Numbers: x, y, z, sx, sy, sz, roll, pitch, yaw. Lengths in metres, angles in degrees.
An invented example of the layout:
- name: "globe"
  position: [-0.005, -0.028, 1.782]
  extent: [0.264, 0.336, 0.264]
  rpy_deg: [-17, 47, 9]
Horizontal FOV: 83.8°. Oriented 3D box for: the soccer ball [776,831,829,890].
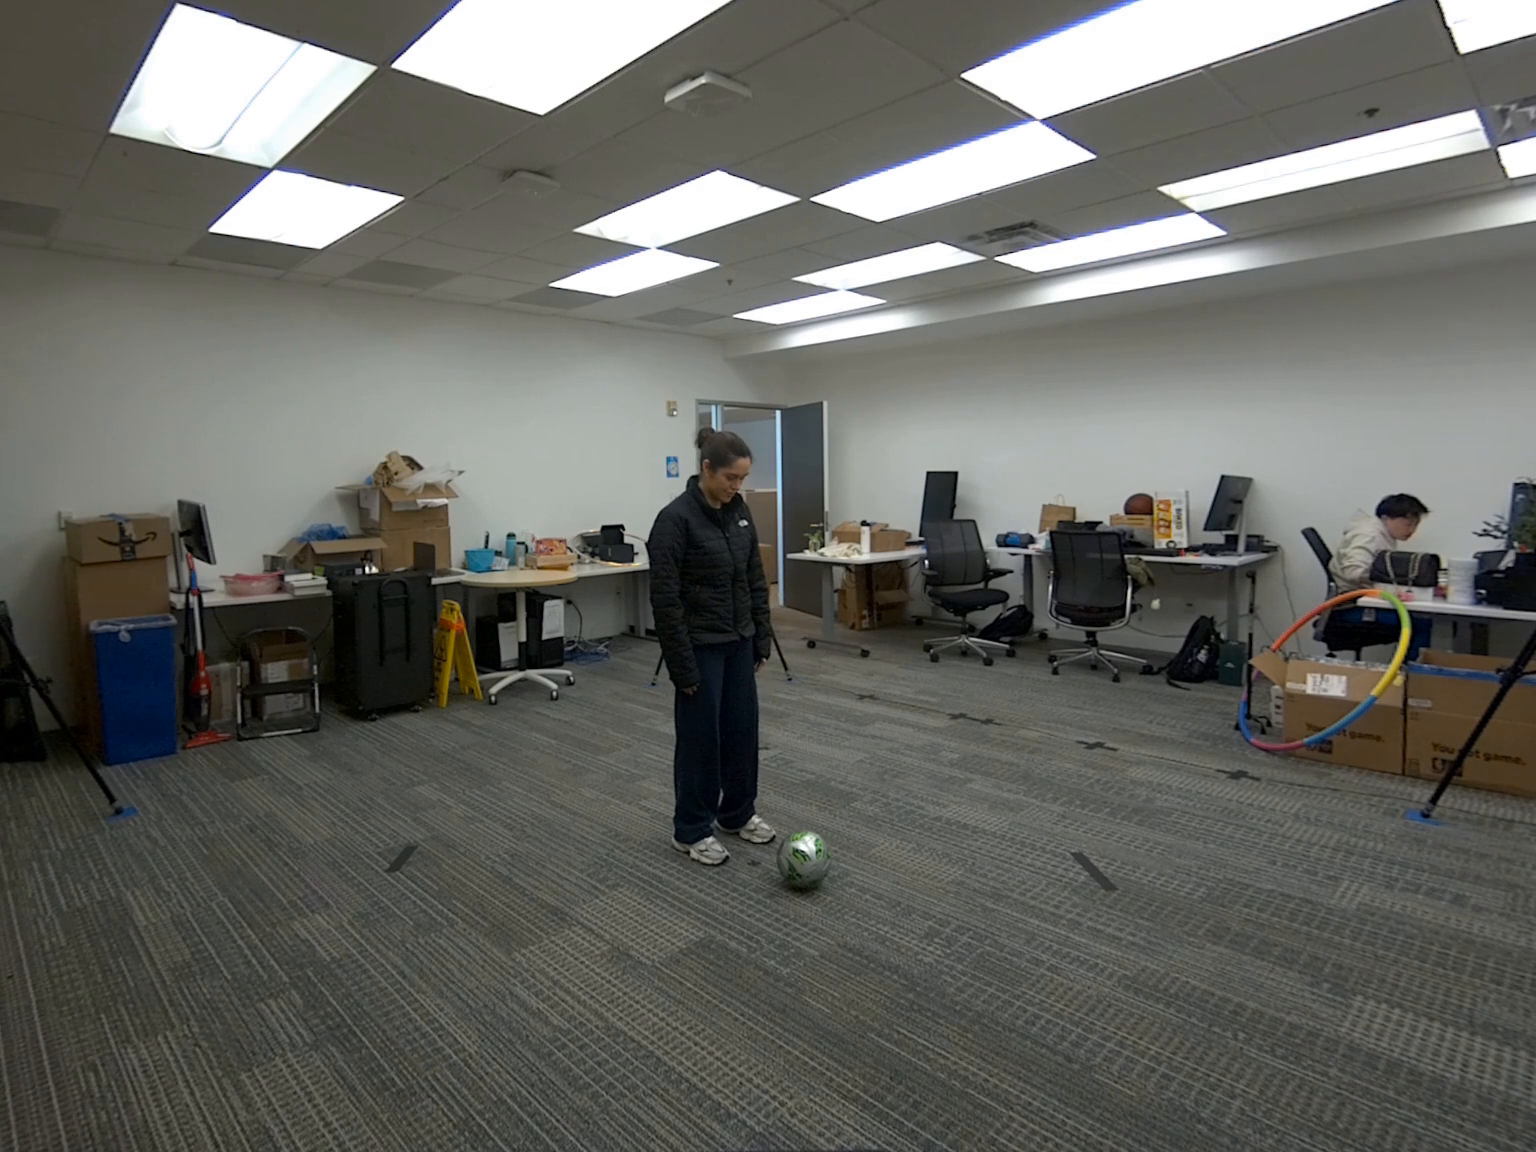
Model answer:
- name: "soccer ball"
  position: [0.132, 0.966, 2.921]
  extent: [0.187, 0.187, 0.188]
  rpy_deg: [-1, 5, -2]
